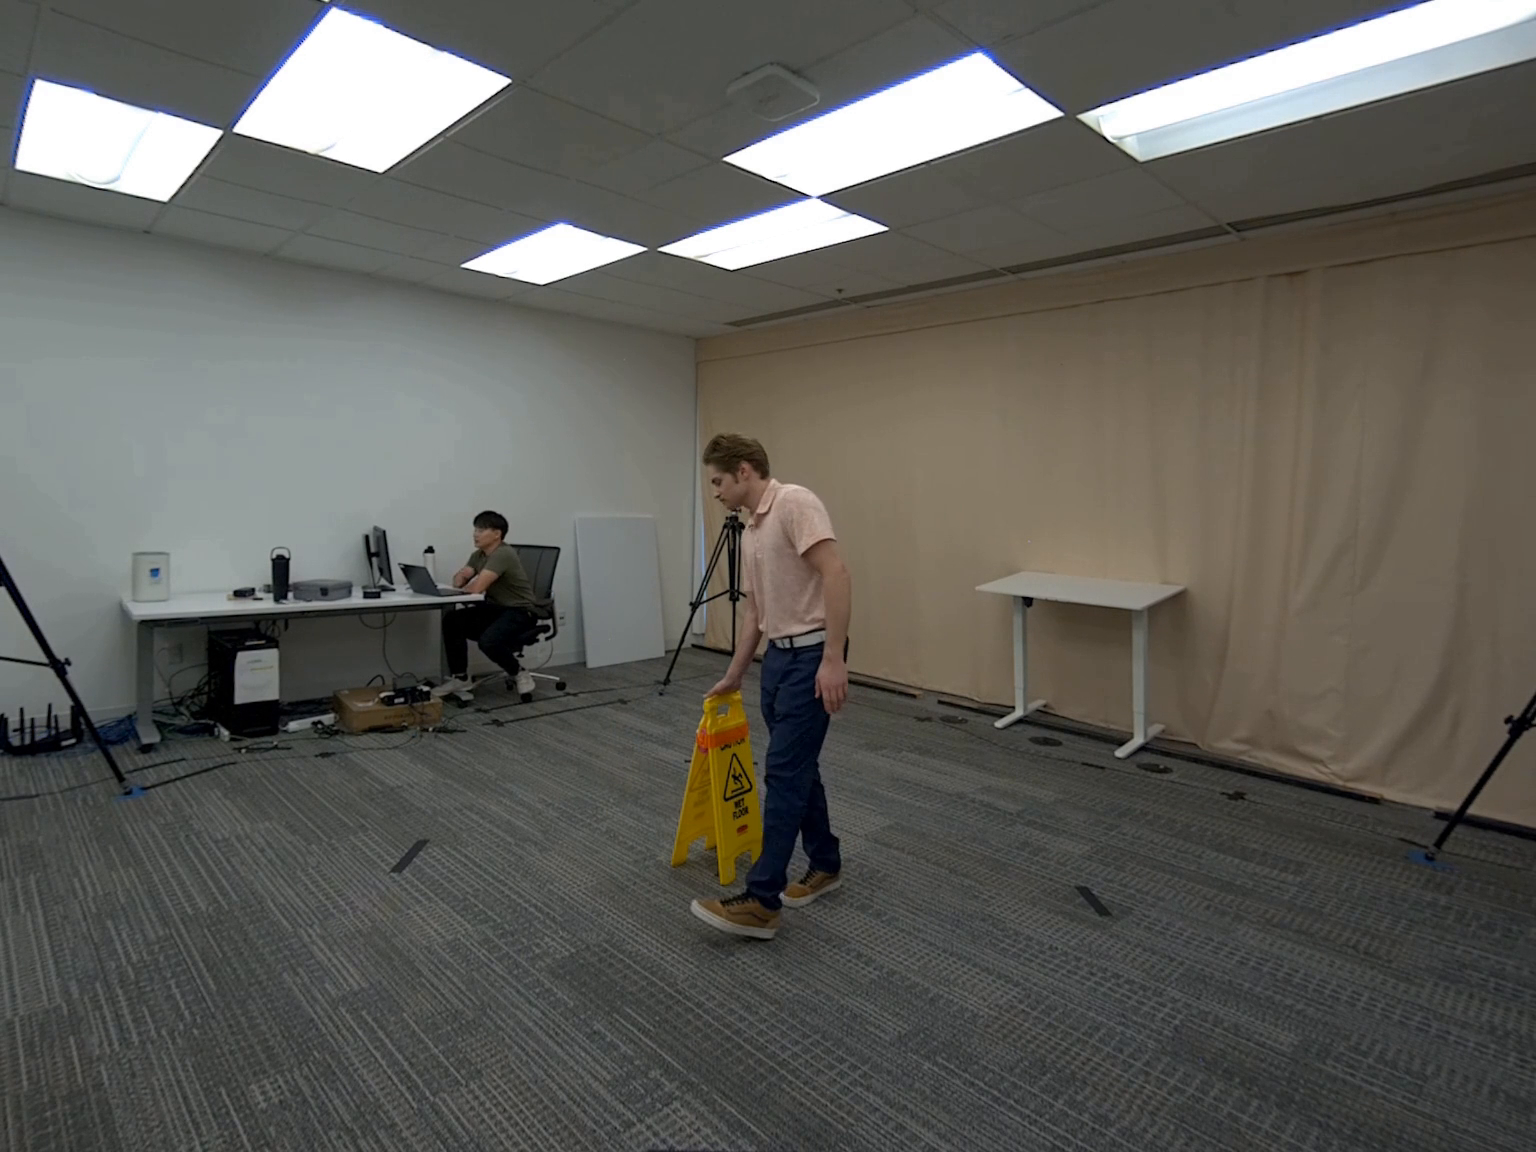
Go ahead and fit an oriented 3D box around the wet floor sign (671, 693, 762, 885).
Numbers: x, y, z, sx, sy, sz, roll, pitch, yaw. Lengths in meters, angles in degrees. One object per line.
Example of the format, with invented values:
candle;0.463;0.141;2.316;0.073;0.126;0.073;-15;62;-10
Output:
wet floor sign;-0.179;0.773;3.176;0.297;0.644;0.276;4;4;36
